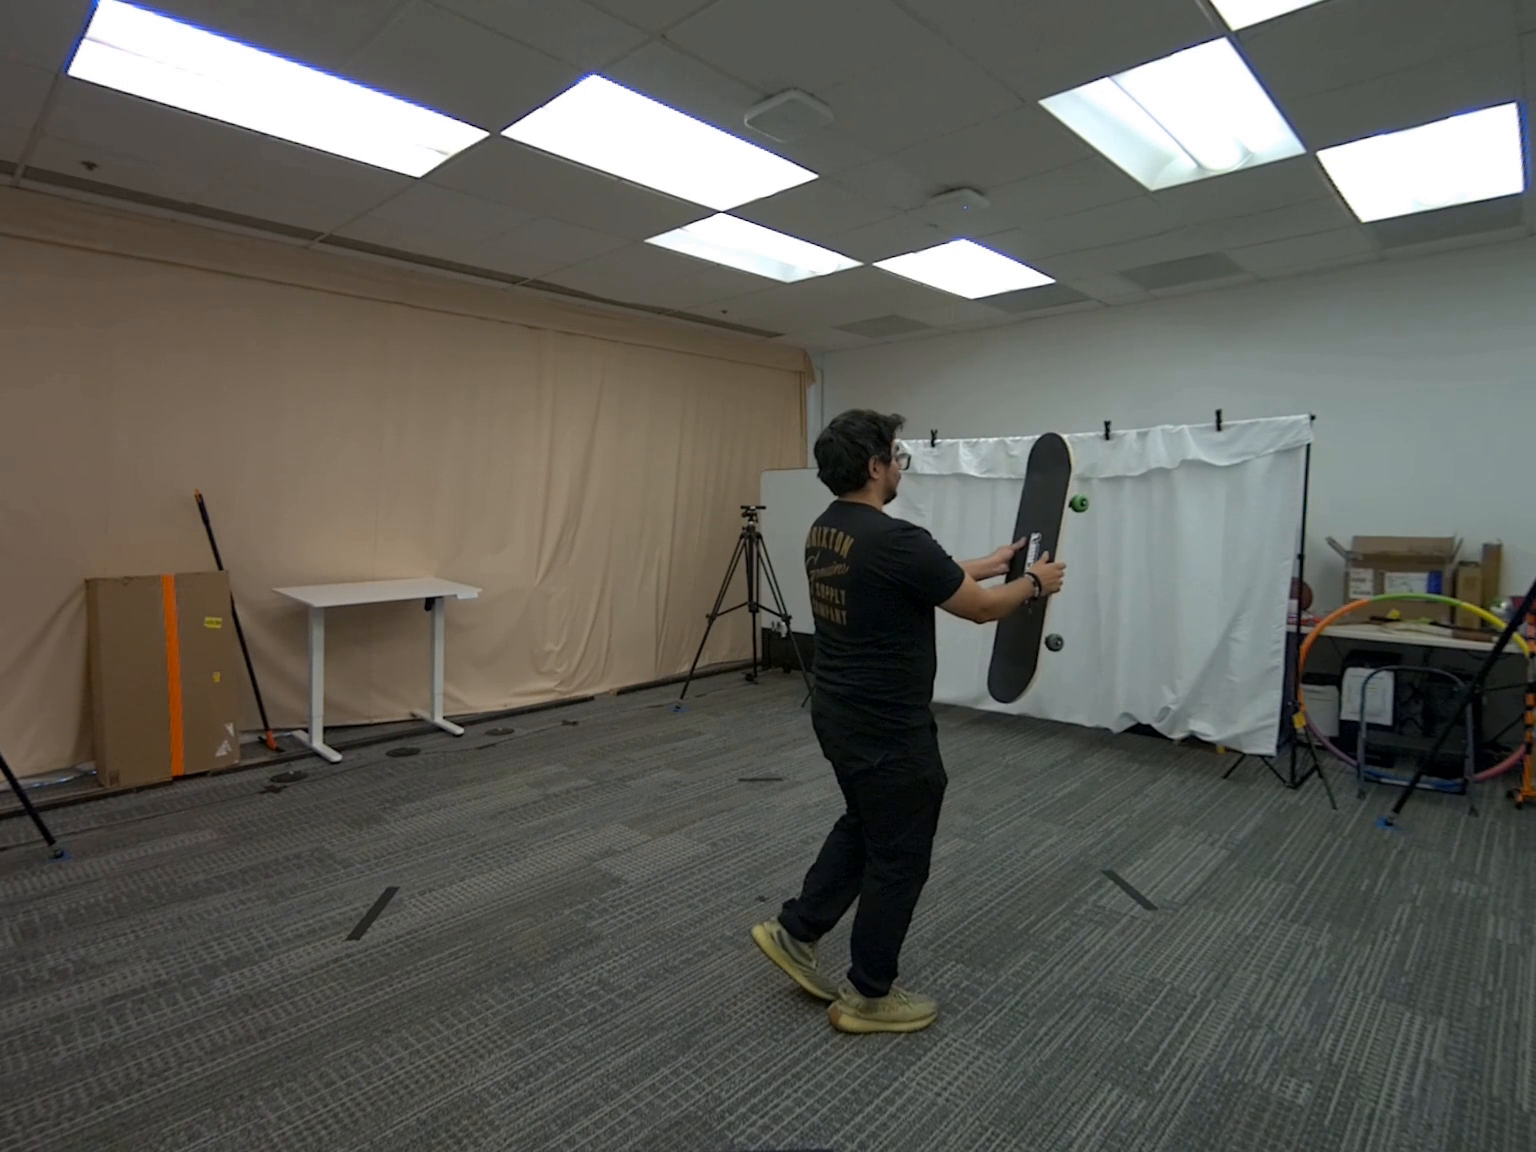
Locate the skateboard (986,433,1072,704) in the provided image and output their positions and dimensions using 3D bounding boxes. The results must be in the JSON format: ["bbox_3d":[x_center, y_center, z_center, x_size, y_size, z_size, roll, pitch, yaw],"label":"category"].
[{"bbox_3d":[0.777,-0.014,2.422,0.108,0.786,0.197,12,-4,-19],"label":"skateboard"}]
